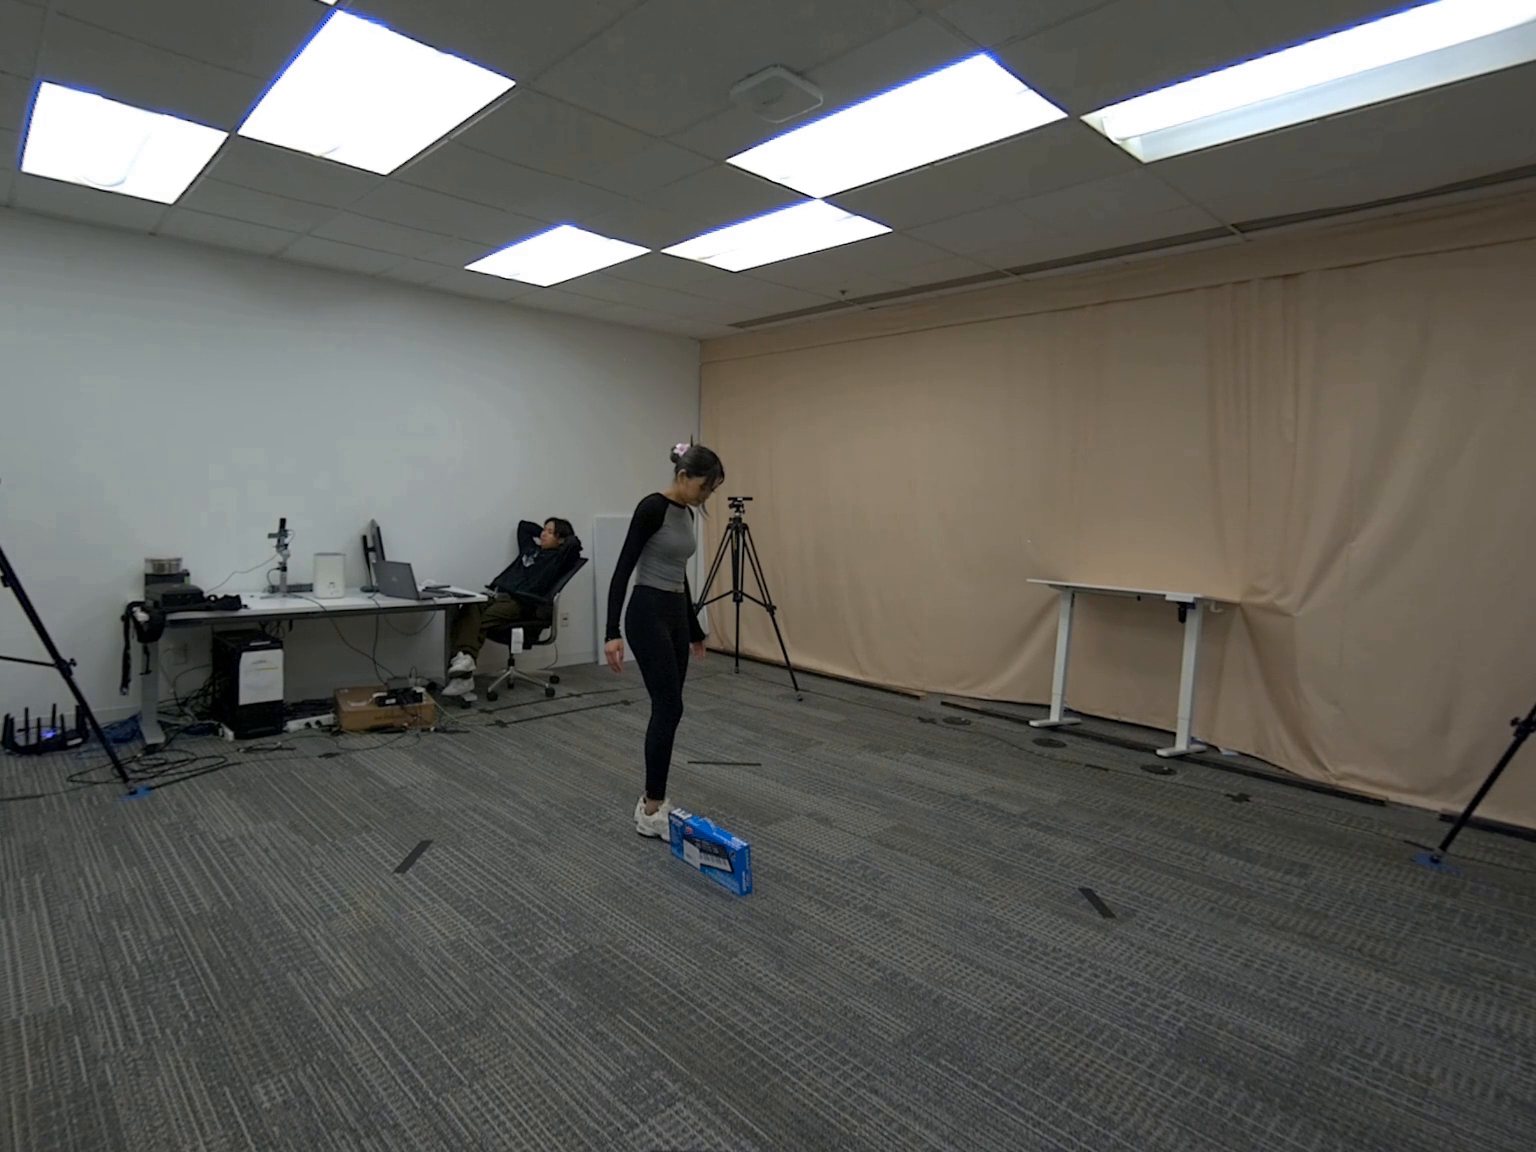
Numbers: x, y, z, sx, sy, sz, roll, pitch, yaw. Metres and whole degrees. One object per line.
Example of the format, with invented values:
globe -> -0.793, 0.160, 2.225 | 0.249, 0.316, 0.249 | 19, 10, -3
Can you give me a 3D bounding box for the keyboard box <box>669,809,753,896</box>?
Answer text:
keyboard box -> -0.228, 1.018, 3.123 | 0.058, 0.175, 0.448 | -9, 10, -39
